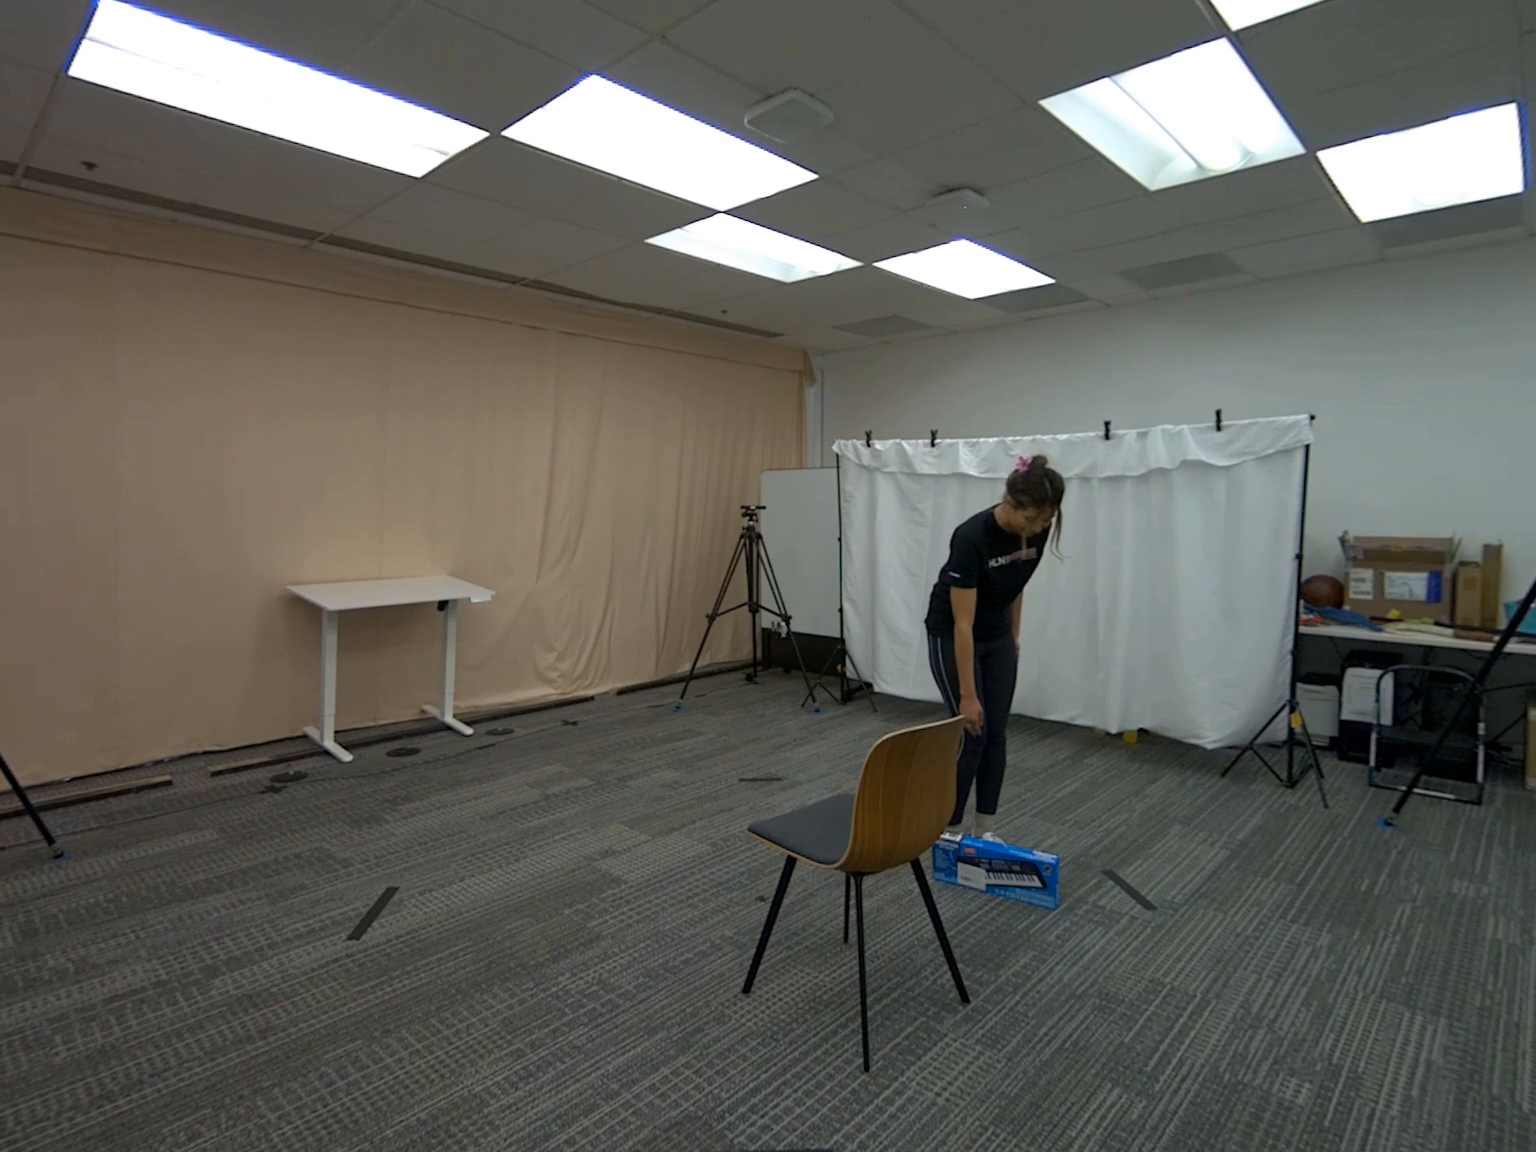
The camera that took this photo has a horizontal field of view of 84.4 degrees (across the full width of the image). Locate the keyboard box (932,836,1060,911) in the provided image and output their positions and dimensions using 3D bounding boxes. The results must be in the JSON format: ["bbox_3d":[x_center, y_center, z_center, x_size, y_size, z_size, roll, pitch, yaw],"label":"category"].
[{"bbox_3d":[0.816,1.052,3.024,0.450,0.175,0.057,2,9,33],"label":"keyboard box"}]
